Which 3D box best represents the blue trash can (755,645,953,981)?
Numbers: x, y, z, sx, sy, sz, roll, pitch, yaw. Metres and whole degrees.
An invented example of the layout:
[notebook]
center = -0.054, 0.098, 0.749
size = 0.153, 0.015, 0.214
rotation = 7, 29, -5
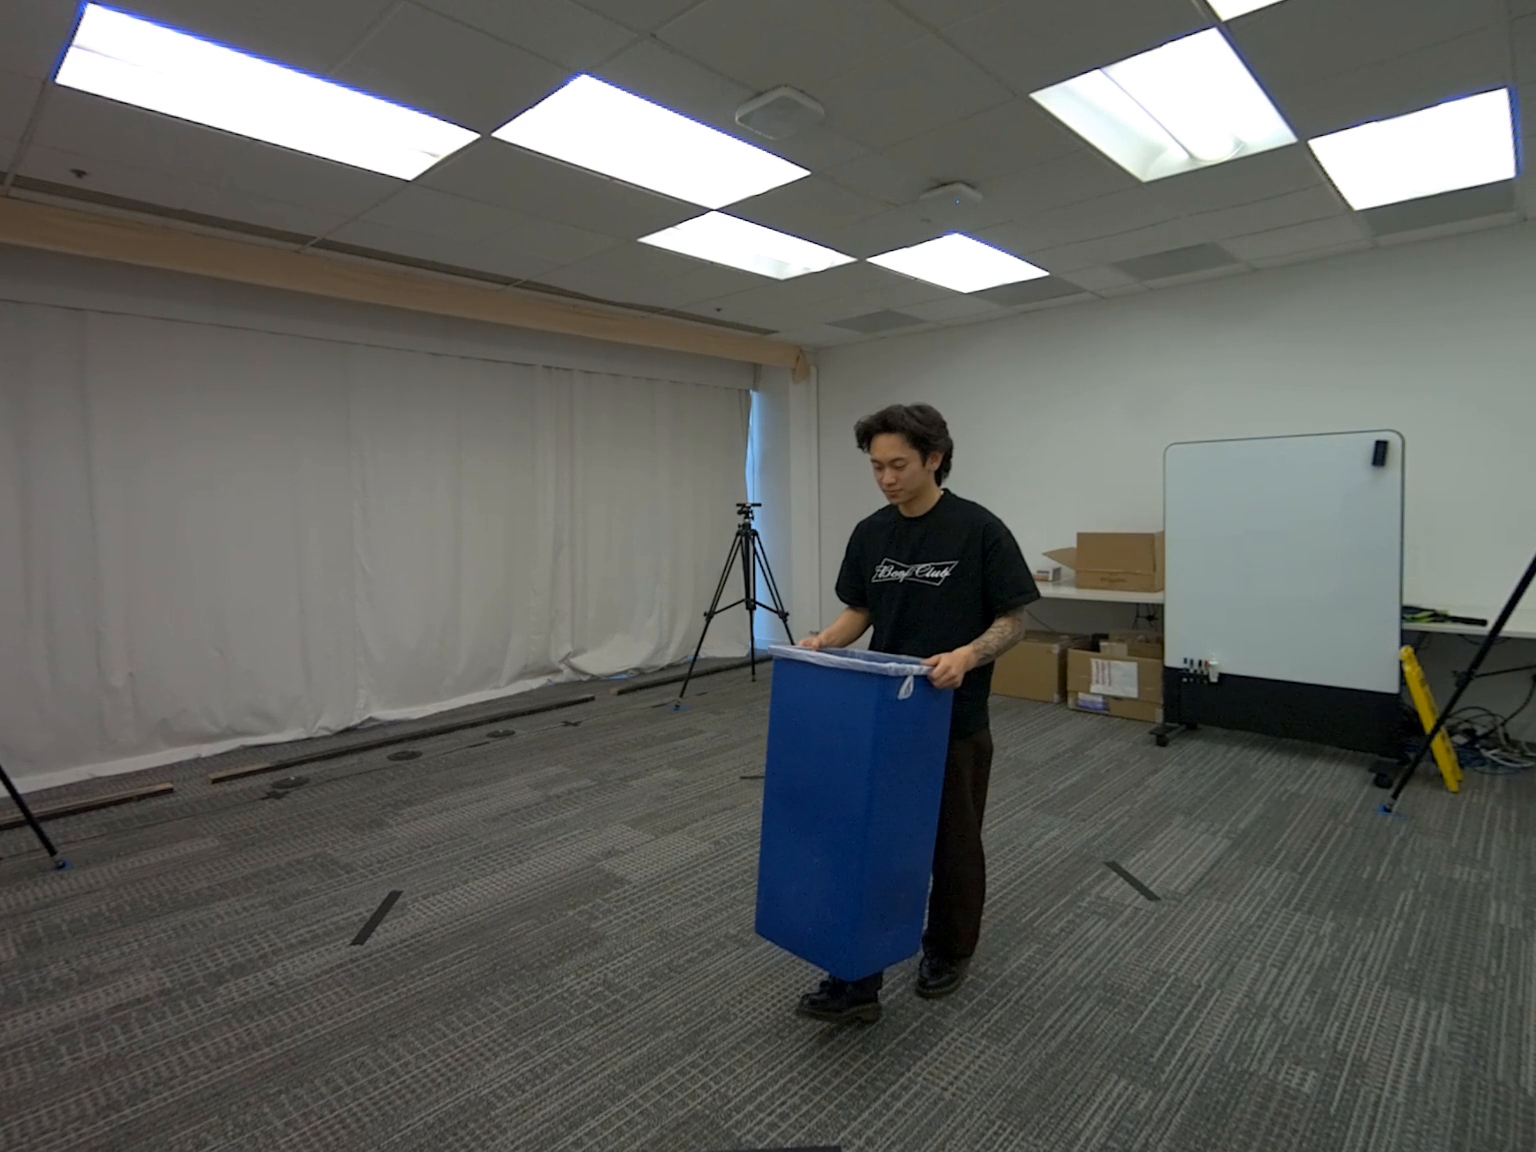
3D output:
[blue trash can]
center = 0.204, 0.560, 2.097
size = 0.387, 0.714, 0.365
rotation = 4, -3, 43
